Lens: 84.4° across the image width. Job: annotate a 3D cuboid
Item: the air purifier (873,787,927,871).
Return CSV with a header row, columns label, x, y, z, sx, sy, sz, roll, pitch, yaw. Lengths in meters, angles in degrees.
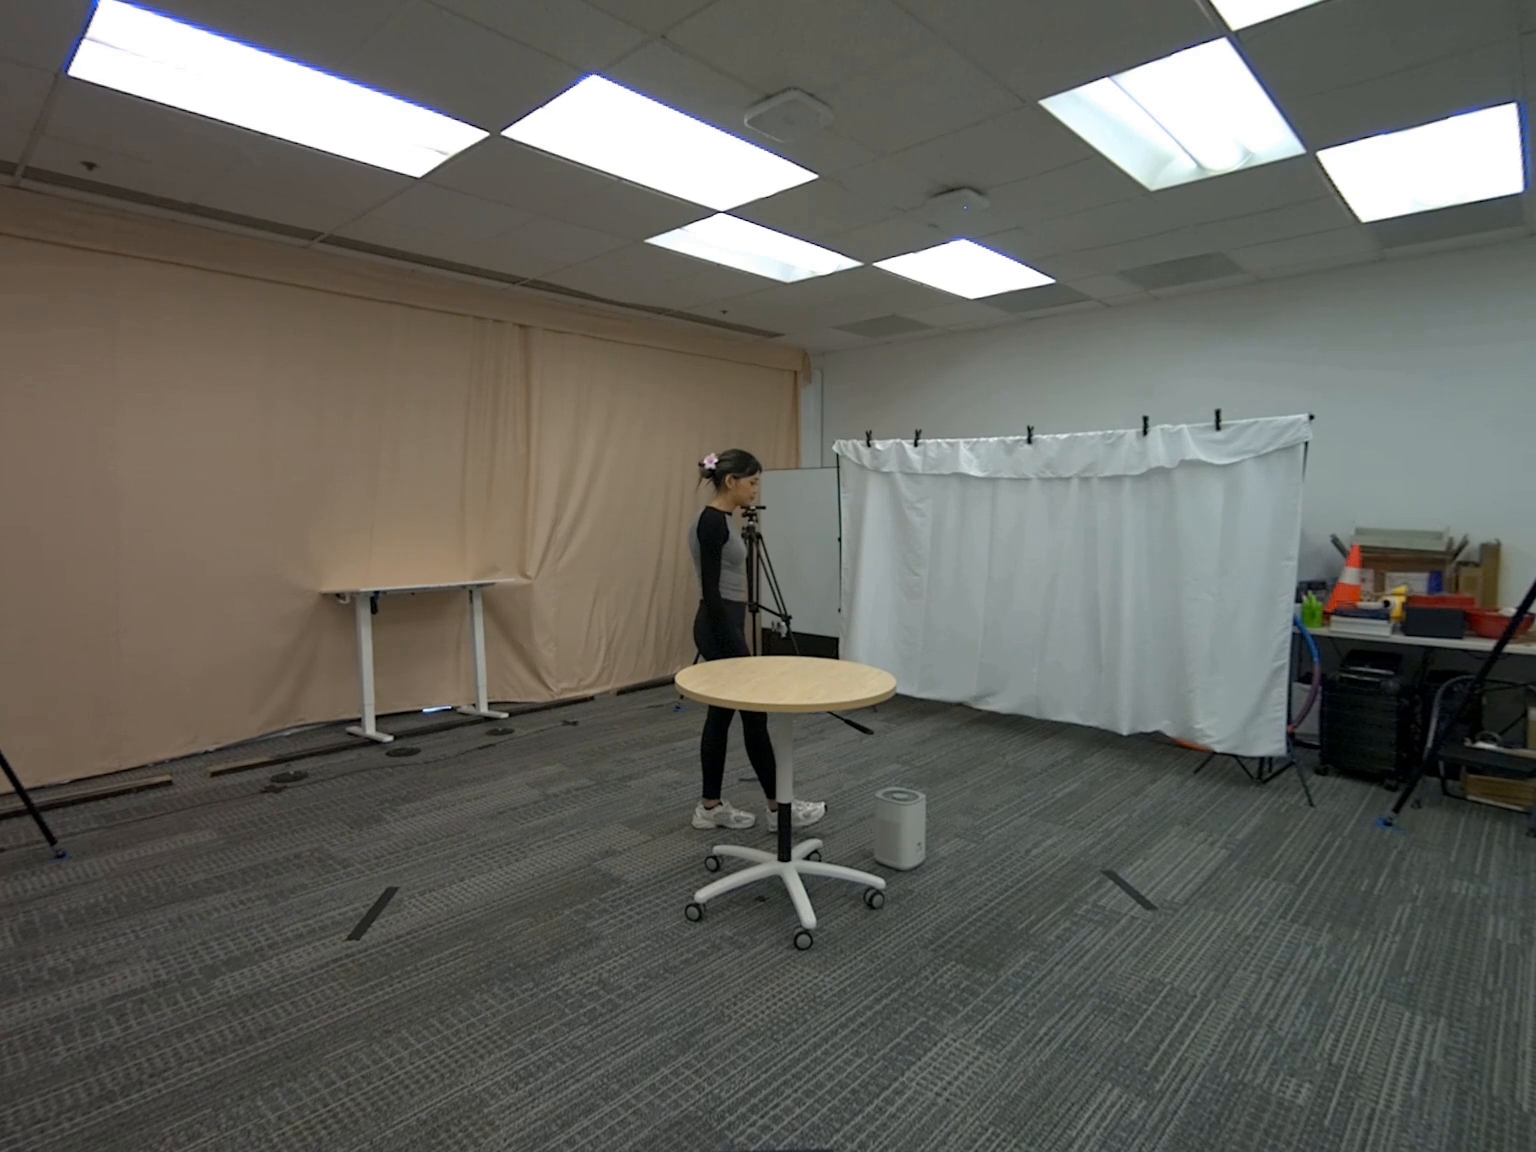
label,x,y,z,sx,sy,sz,roll,pitch,yaw
air purifier,0.520,0.984,3.281,0.177,0.265,0.166,2,4,39
